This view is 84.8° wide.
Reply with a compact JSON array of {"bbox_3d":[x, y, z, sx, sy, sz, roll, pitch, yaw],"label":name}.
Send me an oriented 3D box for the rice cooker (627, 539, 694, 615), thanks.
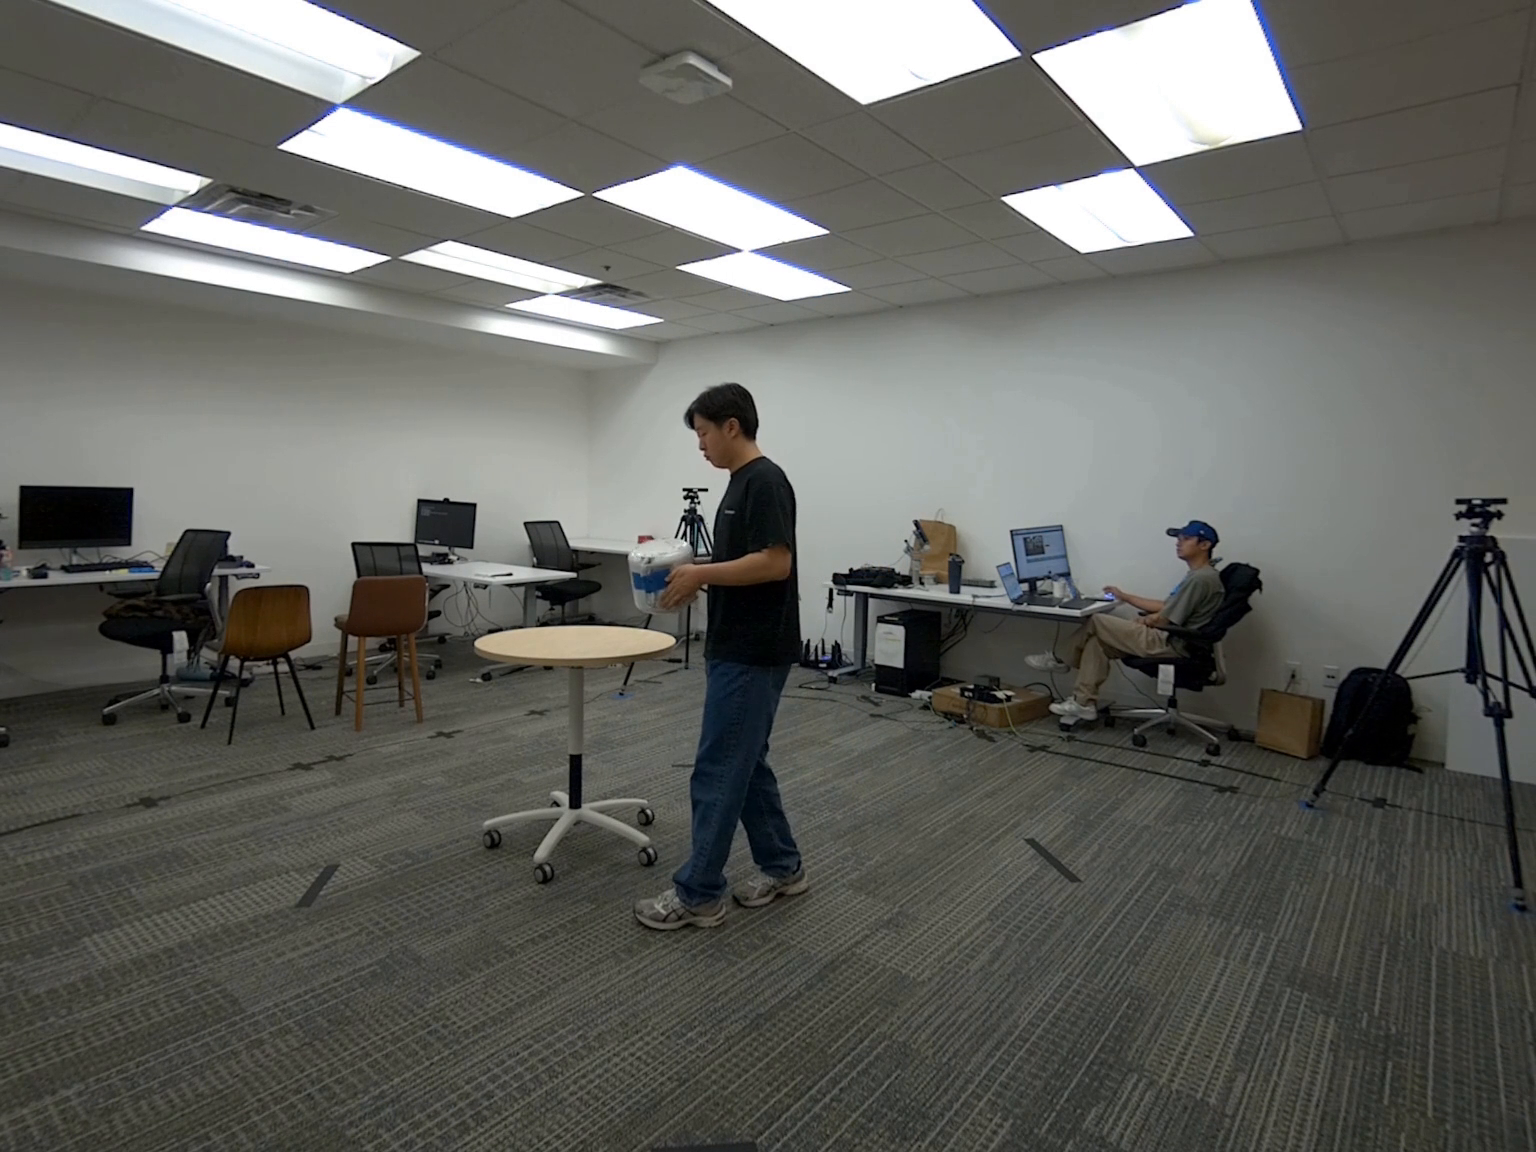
[{"bbox_3d":[-0.345,0.007,2.784,0.213,0.228,0.229,-15,22,-26],"label":"rice cooker"}]
